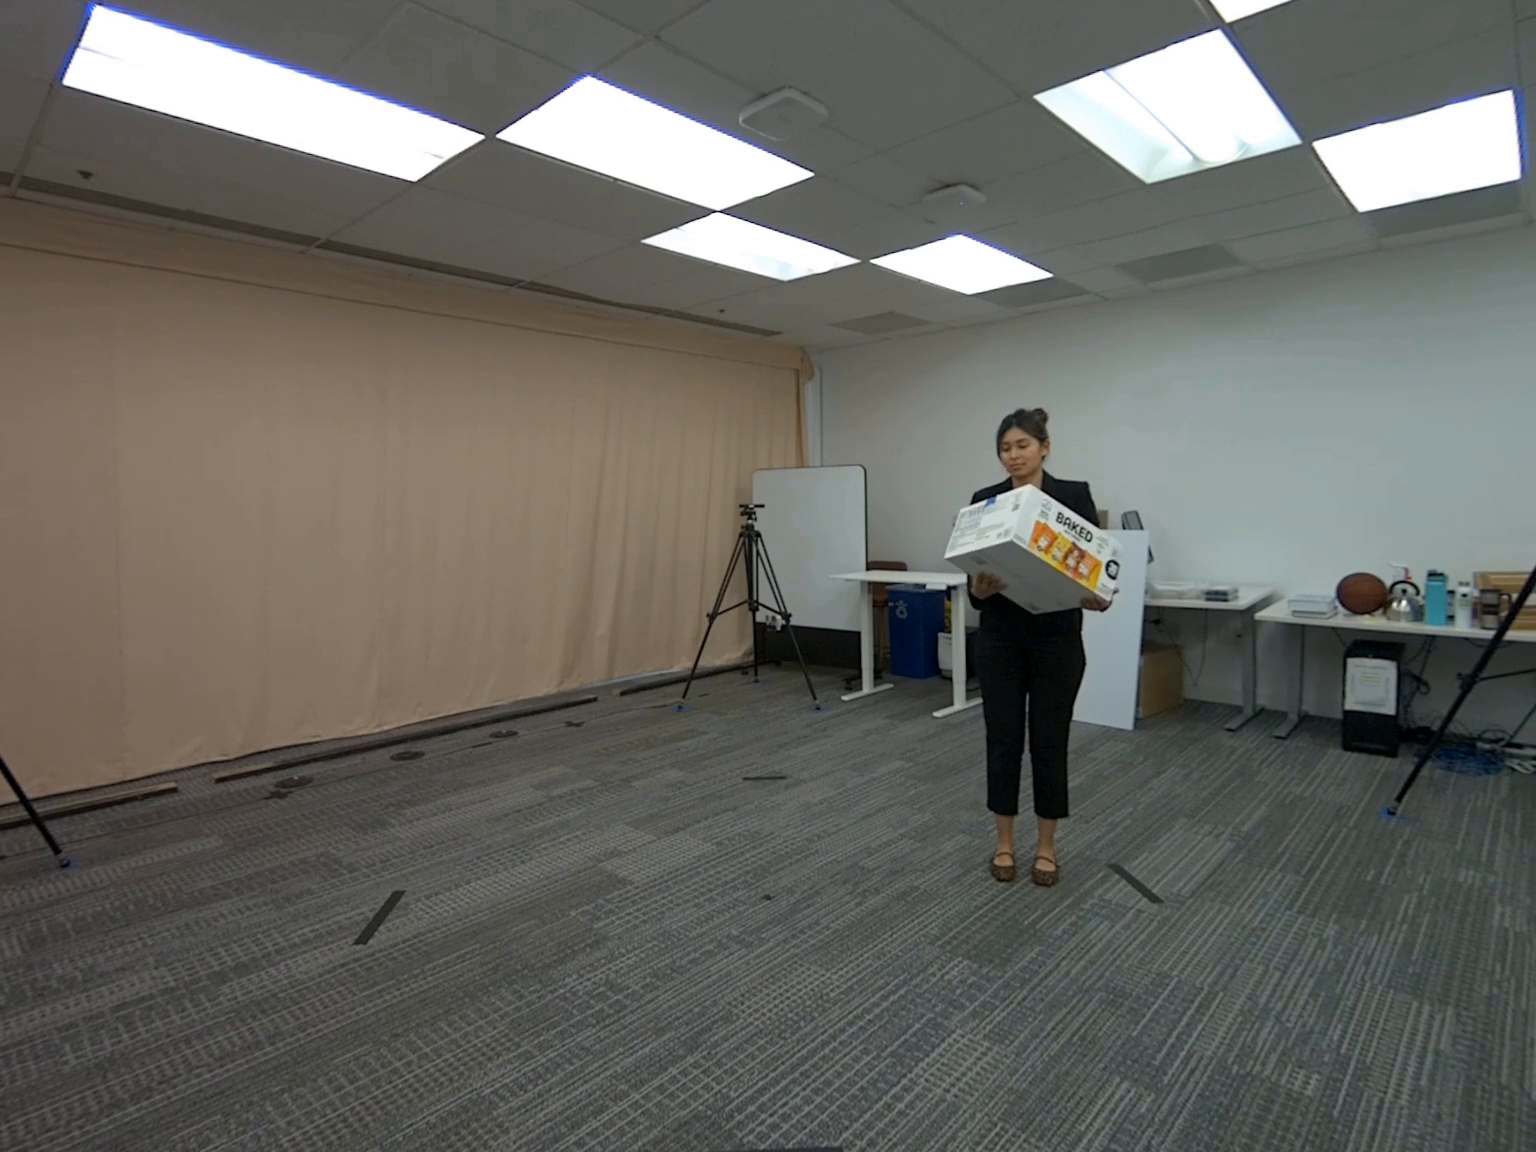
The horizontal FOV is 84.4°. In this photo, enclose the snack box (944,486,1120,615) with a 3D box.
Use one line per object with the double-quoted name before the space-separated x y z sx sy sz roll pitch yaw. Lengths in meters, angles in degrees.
"snack box" 0.864 -0.073 2.747 0.398 0.206 0.346 29 -20 -15
